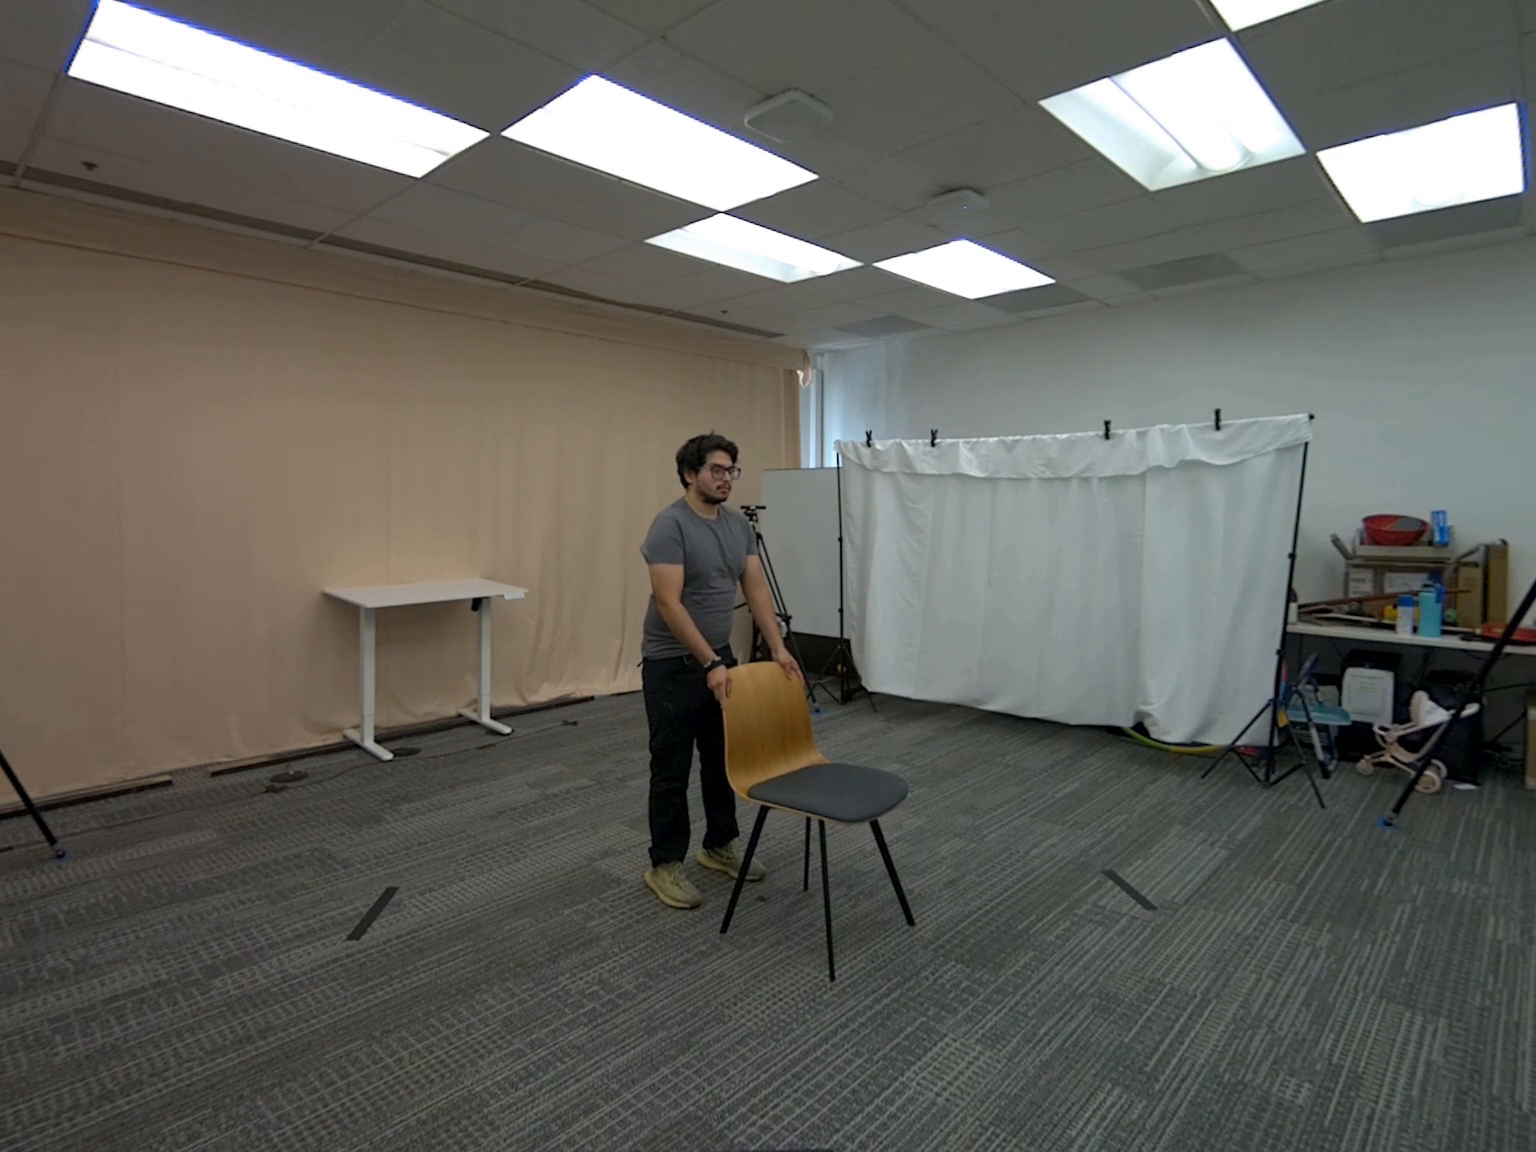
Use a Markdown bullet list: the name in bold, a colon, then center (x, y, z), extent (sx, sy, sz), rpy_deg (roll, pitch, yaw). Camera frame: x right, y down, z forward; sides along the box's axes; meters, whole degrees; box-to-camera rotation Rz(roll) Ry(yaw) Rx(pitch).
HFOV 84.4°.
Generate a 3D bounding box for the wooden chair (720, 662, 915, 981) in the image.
- **wooden chair**: center (0.160, 0.726, 2.723), extent (0.539, 0.879, 0.463), rpy_deg (-7, -3, 42)
